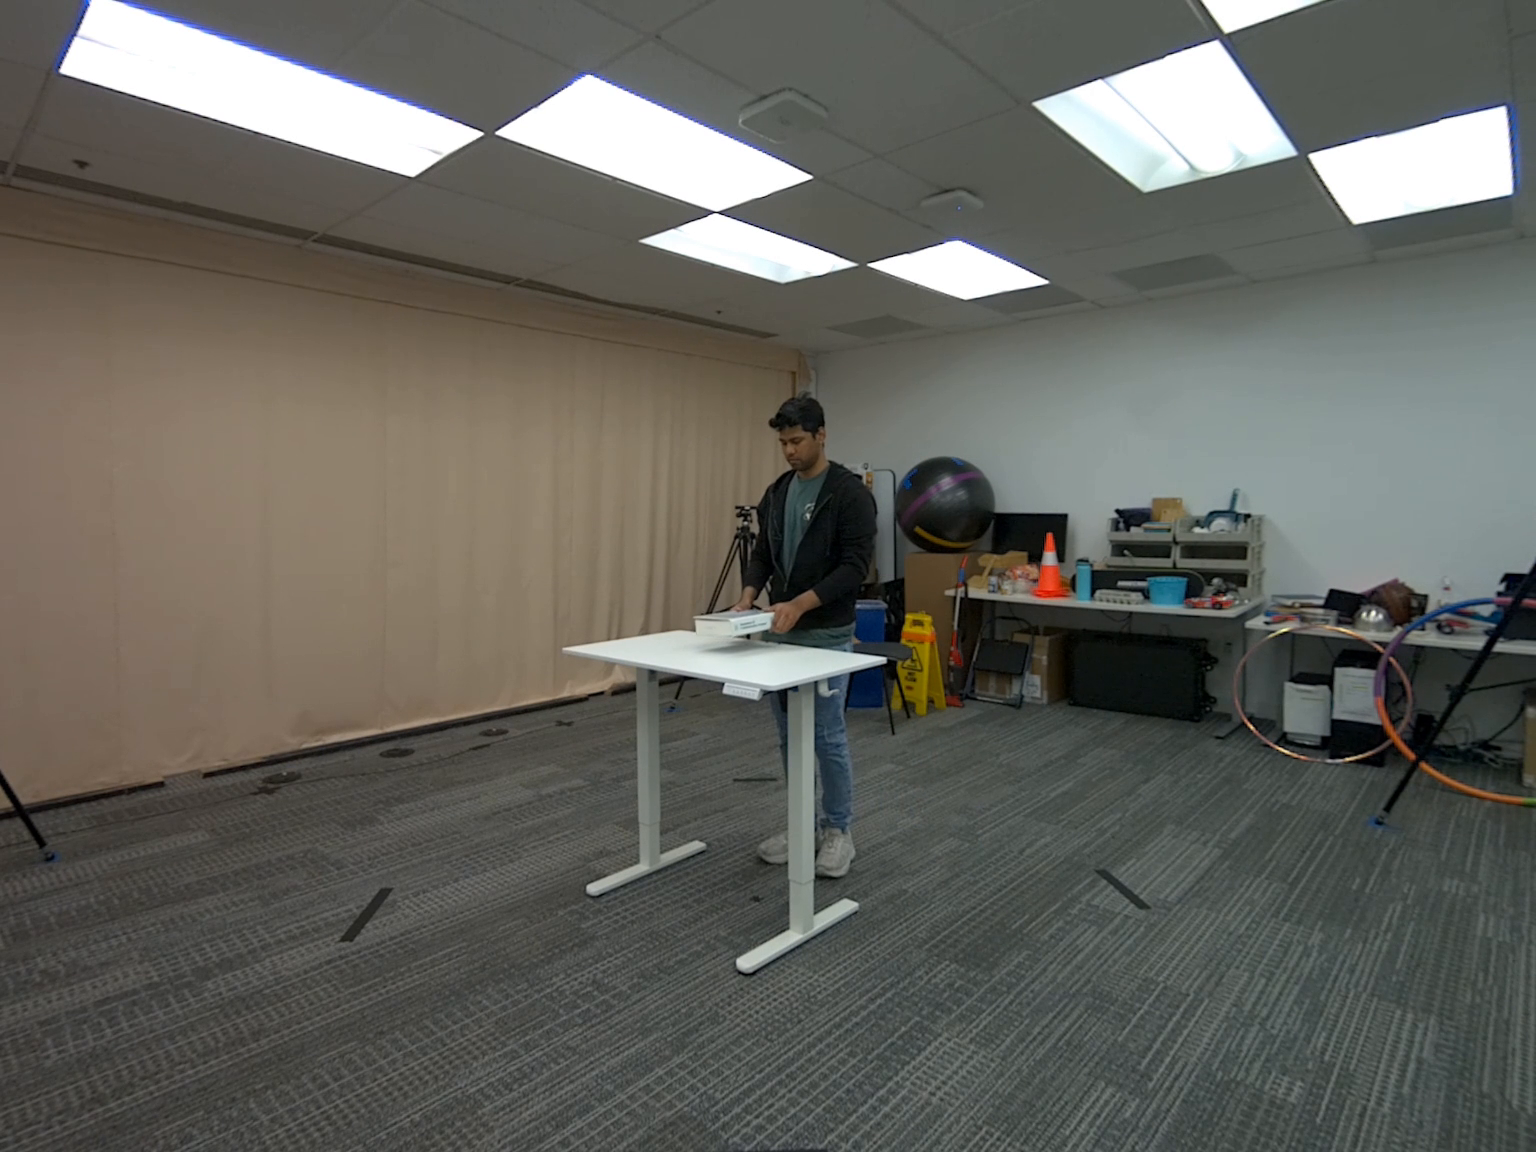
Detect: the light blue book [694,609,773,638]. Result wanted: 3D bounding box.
[{"bbox_3d":[-0.108,0.170,3.009,0.197,0.059,0.253,0,5,43],"label":"light blue book"}]
